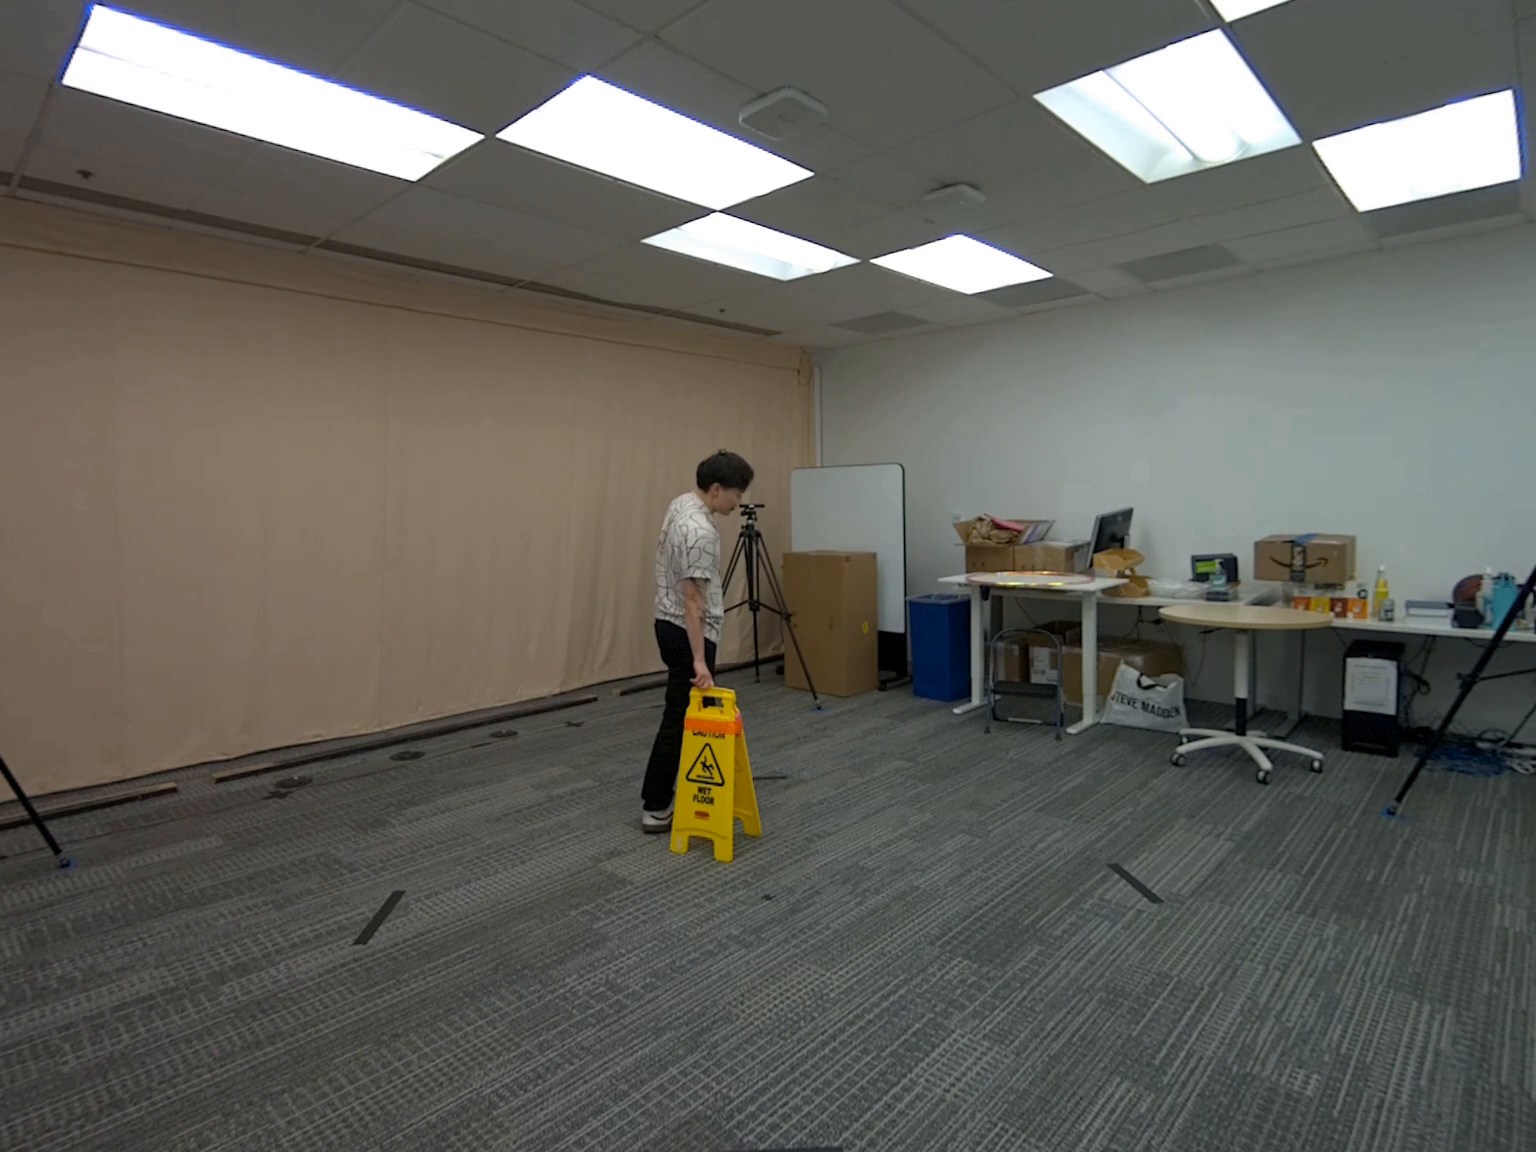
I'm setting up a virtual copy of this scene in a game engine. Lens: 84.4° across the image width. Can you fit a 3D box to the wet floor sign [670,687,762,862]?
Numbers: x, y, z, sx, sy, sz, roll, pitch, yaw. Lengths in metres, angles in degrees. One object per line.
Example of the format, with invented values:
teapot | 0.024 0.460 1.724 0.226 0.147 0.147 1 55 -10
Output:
wet floor sign | -0.217 0.780 3.452 0.289 0.644 0.283 -1 4 25
